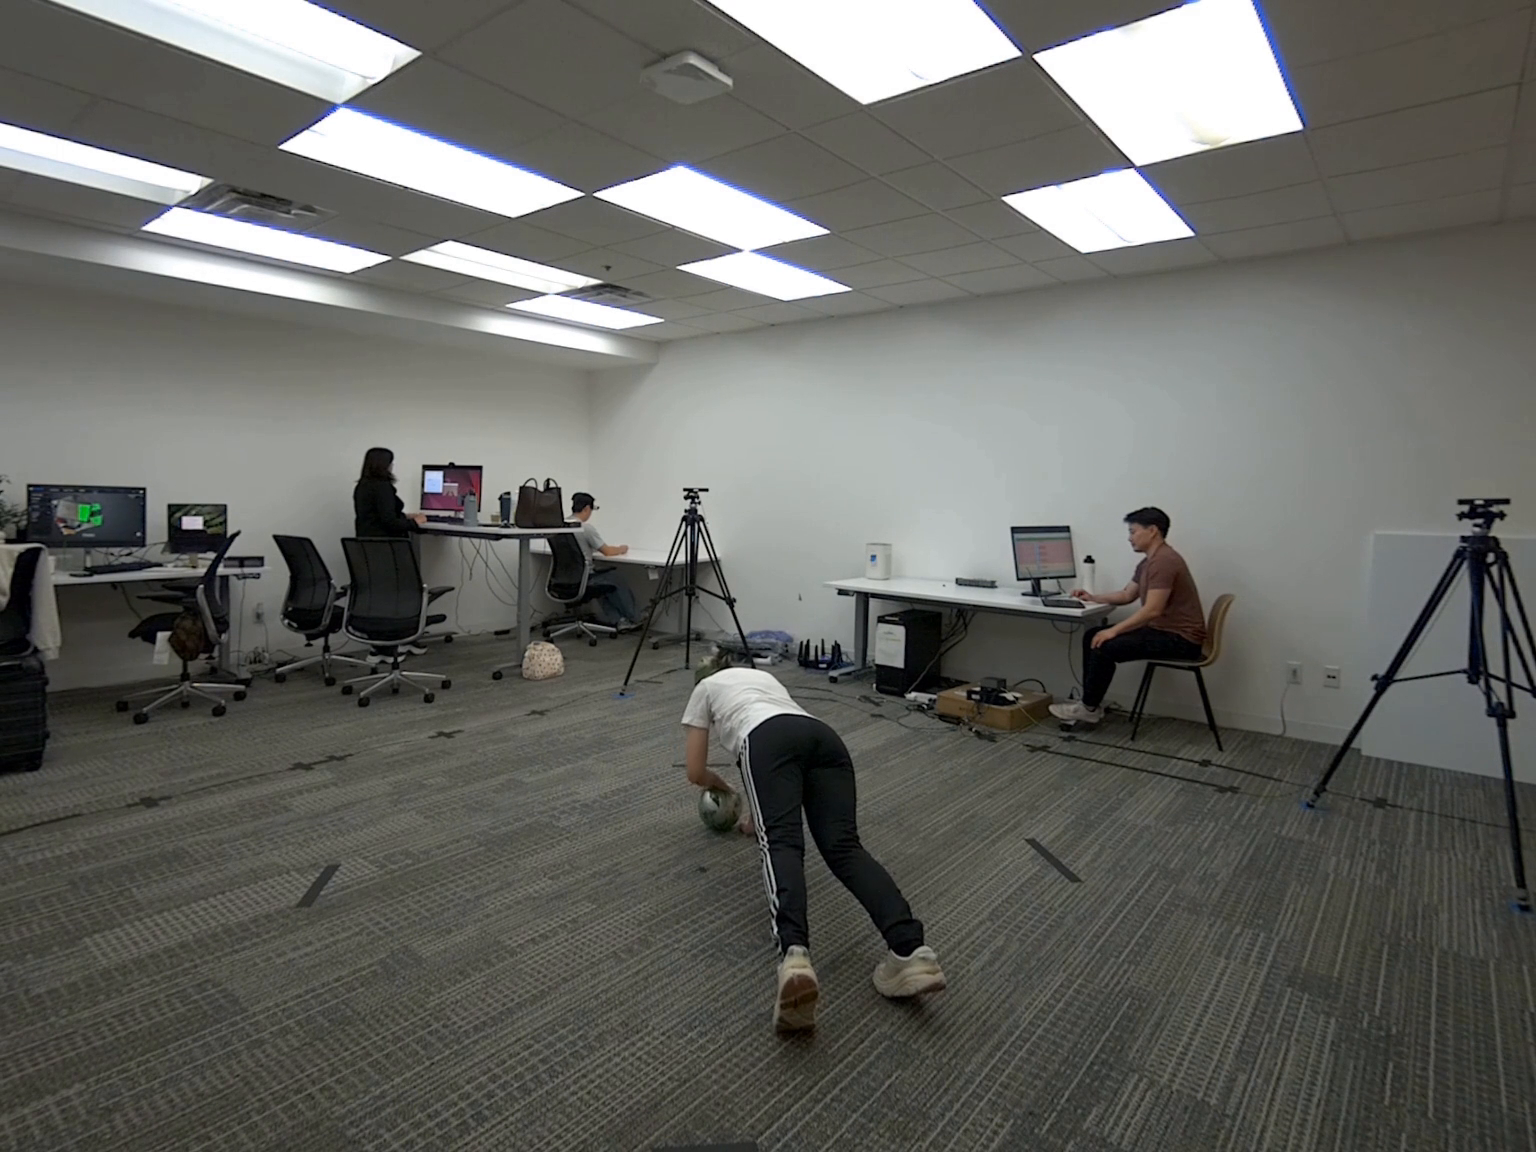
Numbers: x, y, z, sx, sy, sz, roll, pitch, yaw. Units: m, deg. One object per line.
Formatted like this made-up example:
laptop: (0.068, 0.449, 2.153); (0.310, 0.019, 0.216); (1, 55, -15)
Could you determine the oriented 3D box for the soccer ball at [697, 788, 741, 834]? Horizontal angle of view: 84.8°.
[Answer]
soccer ball: (-0.209, 0.936, 3.493); (0.187, 0.187, 0.188); (1, 4, -2)
